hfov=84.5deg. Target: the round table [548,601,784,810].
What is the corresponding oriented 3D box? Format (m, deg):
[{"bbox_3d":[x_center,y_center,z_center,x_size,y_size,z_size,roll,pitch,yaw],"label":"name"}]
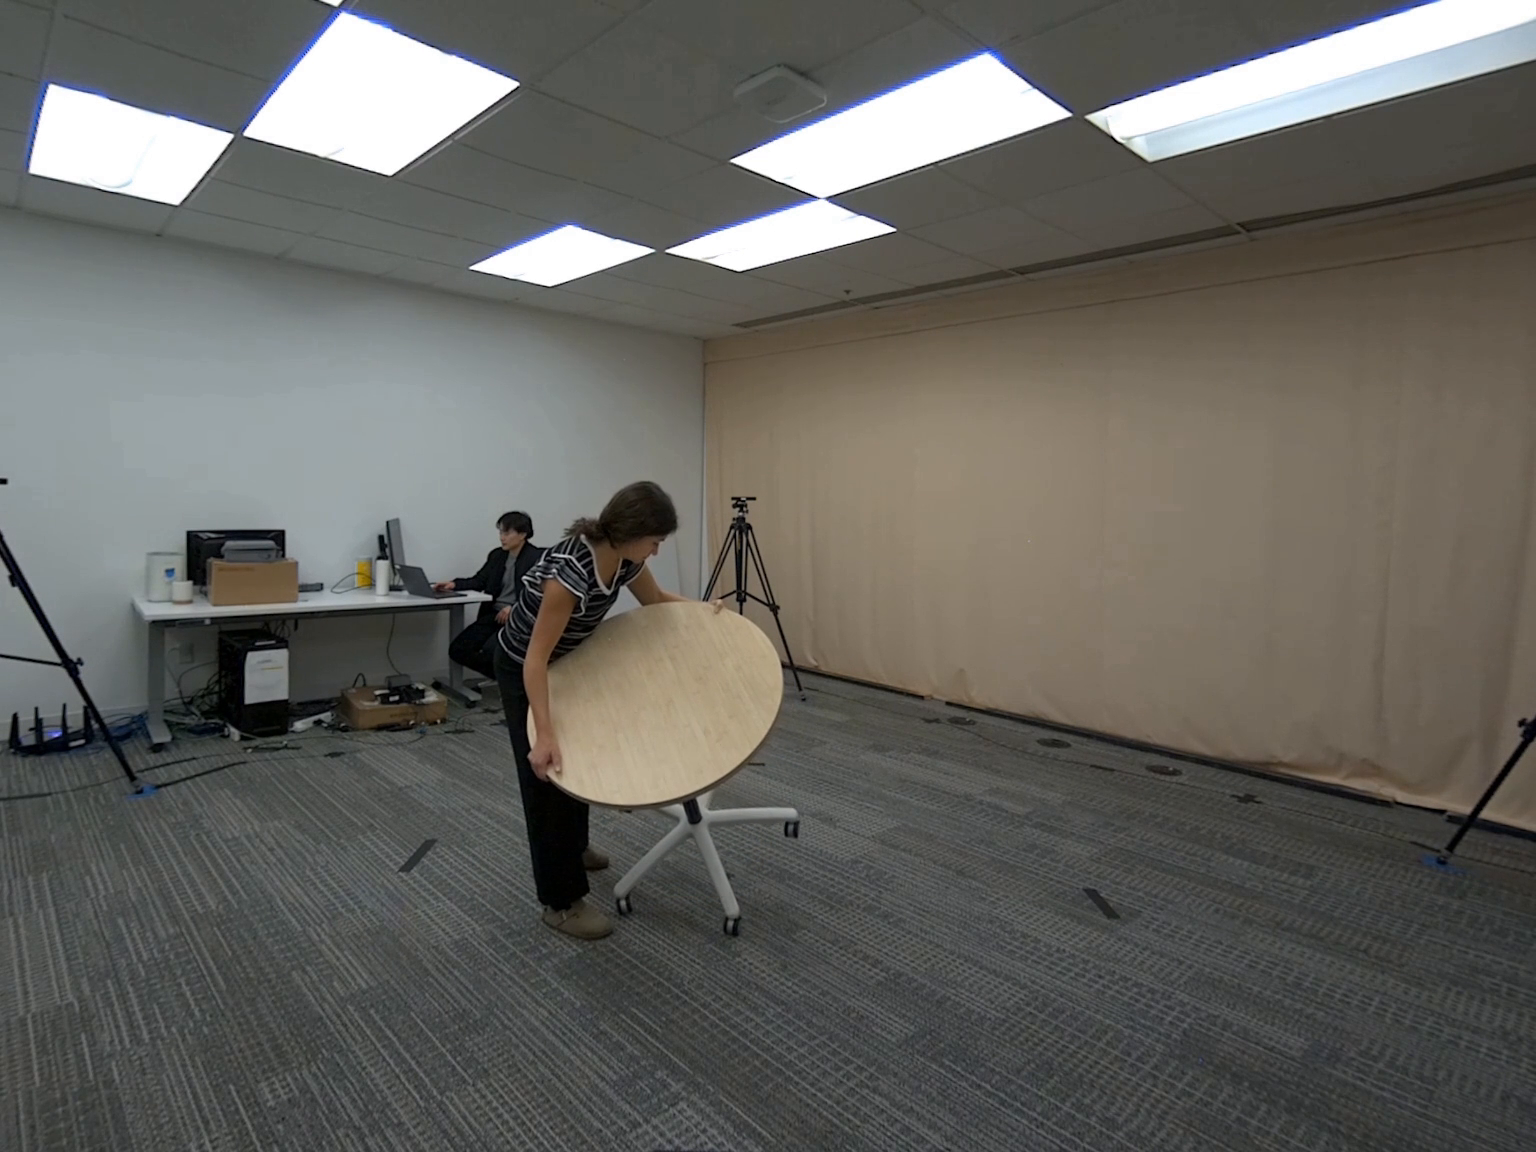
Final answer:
[{"bbox_3d":[-0.292,0.632,2.742,0.787,0.767,0.802,-6,39,4],"label":"round table"}]
